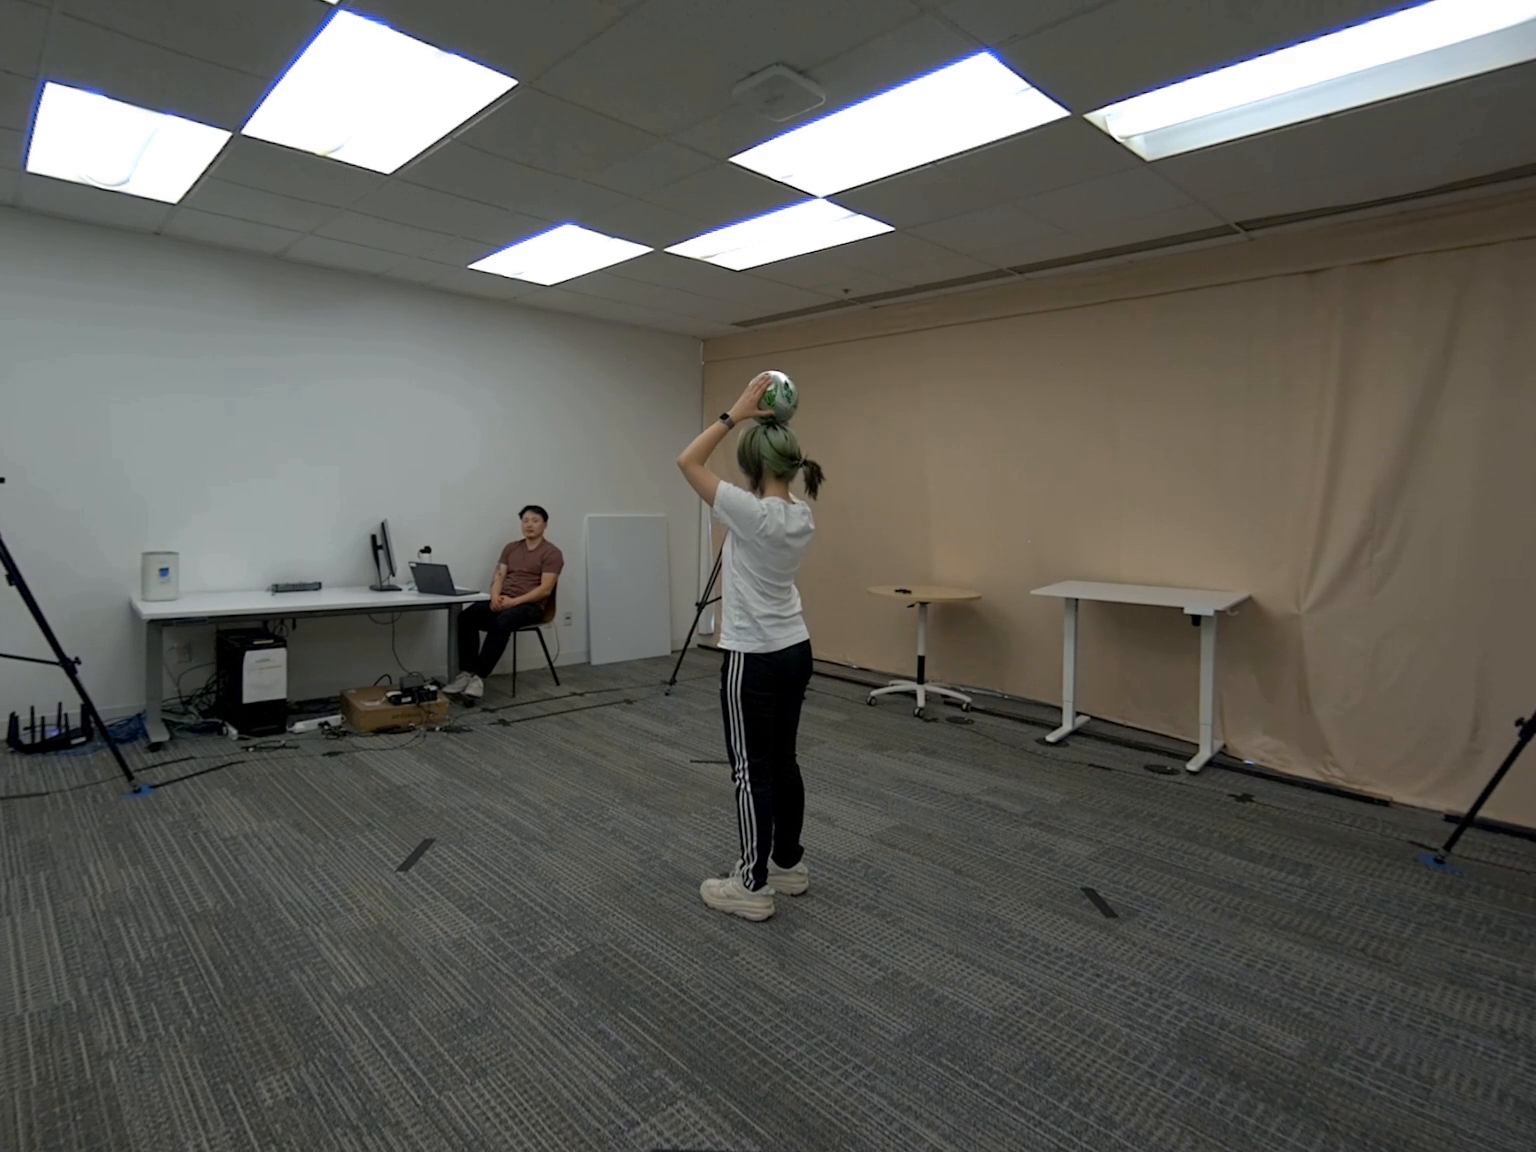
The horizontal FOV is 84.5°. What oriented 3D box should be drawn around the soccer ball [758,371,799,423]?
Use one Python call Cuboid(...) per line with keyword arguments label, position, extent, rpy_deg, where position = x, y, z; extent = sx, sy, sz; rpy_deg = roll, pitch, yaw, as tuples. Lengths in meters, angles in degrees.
Cuboid(label="soccer ball", position=(0.008, -0.603, 2.877), extent=(0.187, 0.187, 0.188), rpy_deg=(1, 4, -1))
